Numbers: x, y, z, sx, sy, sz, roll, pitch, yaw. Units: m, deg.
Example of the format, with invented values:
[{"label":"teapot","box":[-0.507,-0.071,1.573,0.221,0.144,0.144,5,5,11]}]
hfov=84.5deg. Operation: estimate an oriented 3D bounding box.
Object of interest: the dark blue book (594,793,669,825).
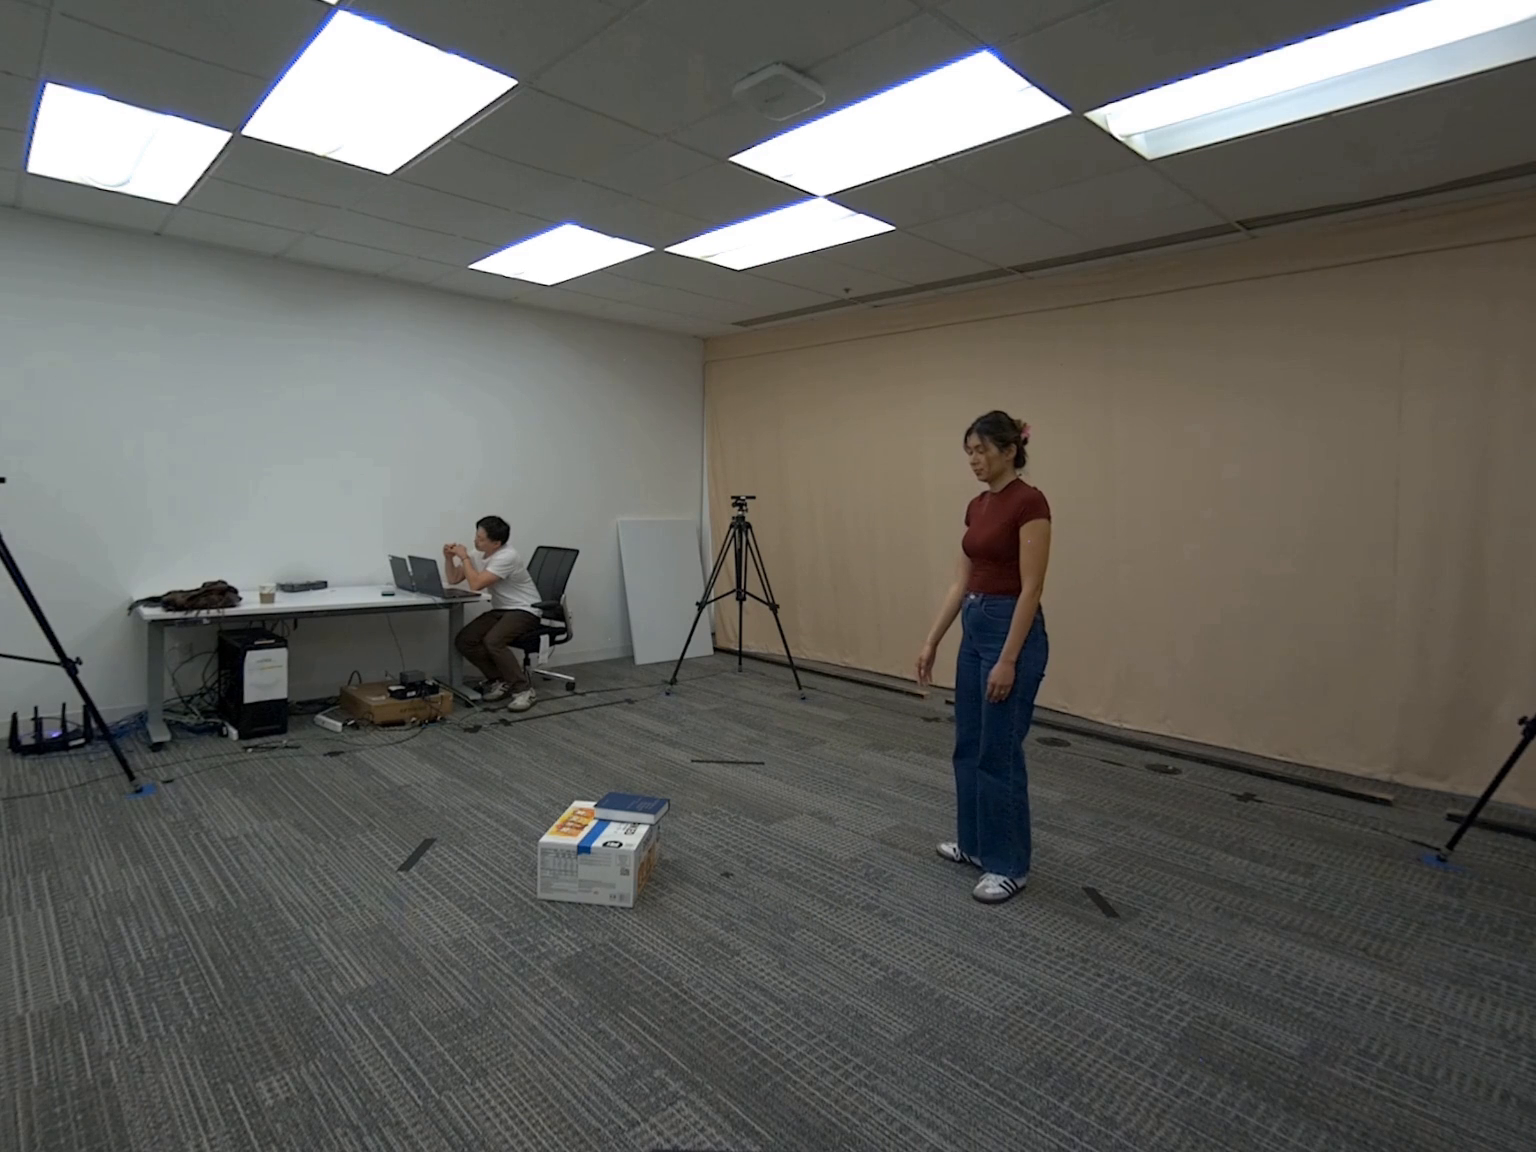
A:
[{"label":"dark blue book","box":[-0.509,0.857,3.145,0.248,0.045,0.162,2,7,14]}]
